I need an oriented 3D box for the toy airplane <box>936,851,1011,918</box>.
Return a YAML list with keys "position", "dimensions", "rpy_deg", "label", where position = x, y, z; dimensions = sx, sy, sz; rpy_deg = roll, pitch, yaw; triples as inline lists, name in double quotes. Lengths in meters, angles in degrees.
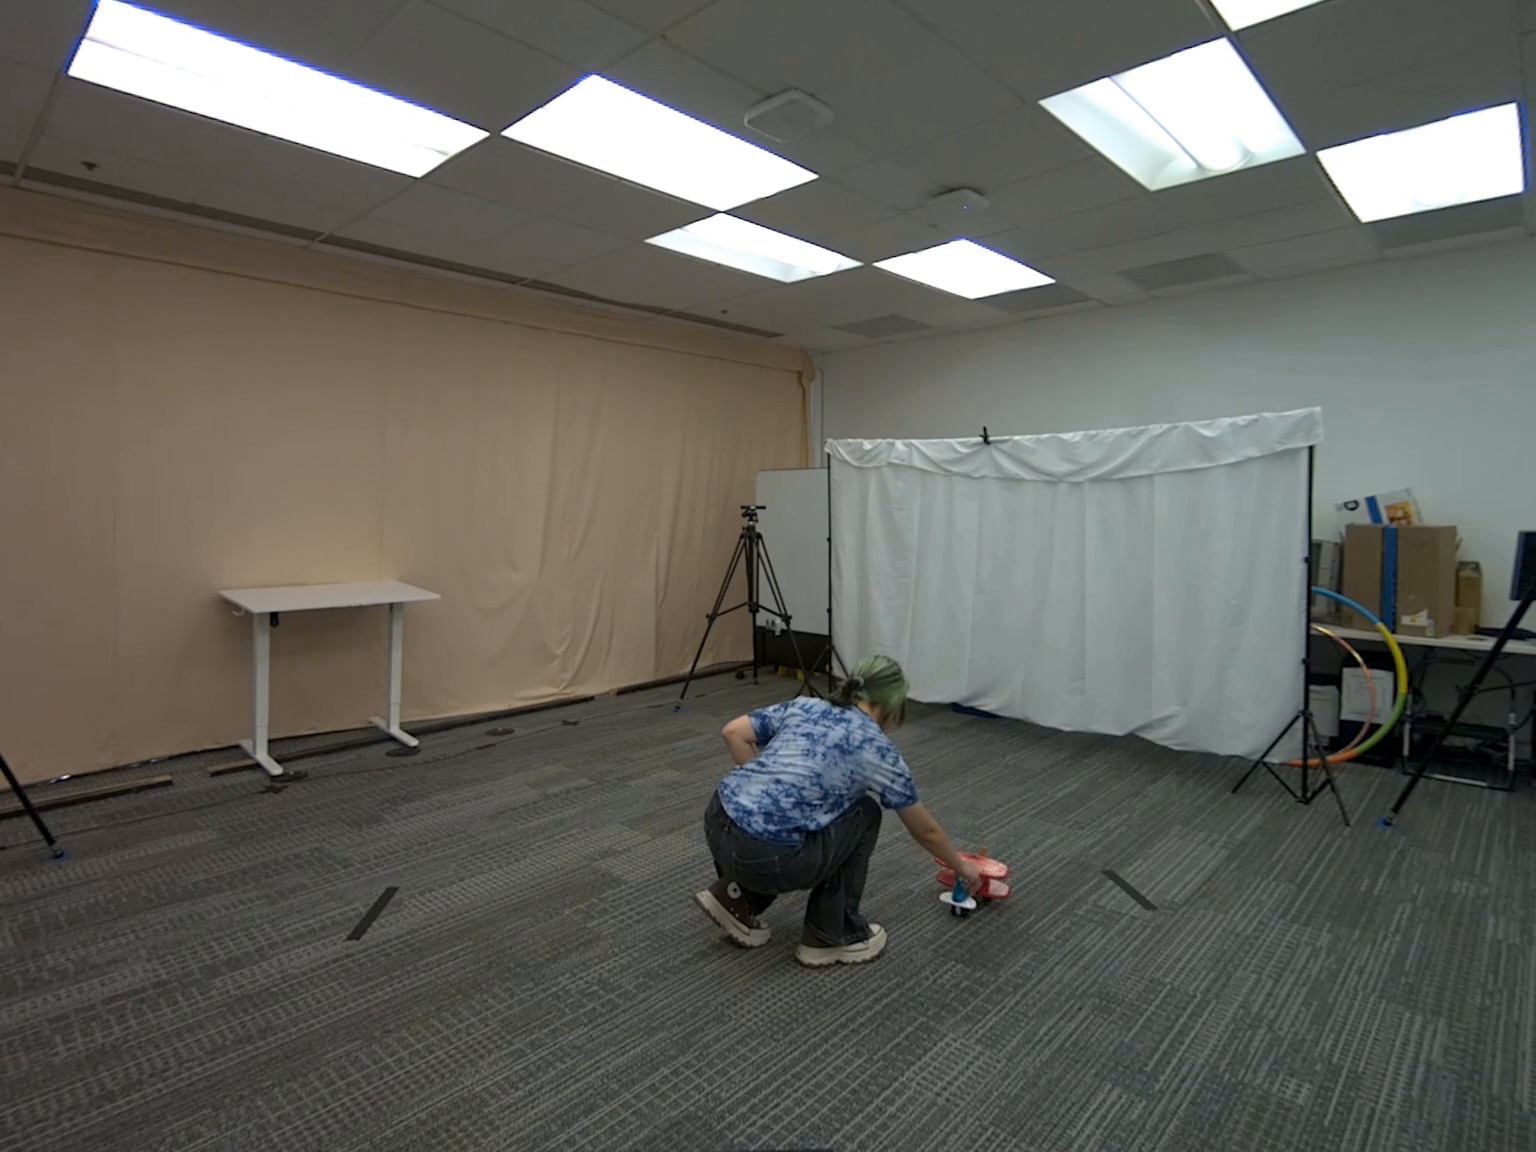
- position: [0.722, 1.074, 2.918]
  dimensions: [0.253, 0.156, 0.258]
  rpy_deg: [1, 3, 5]
  label: "toy airplane"
